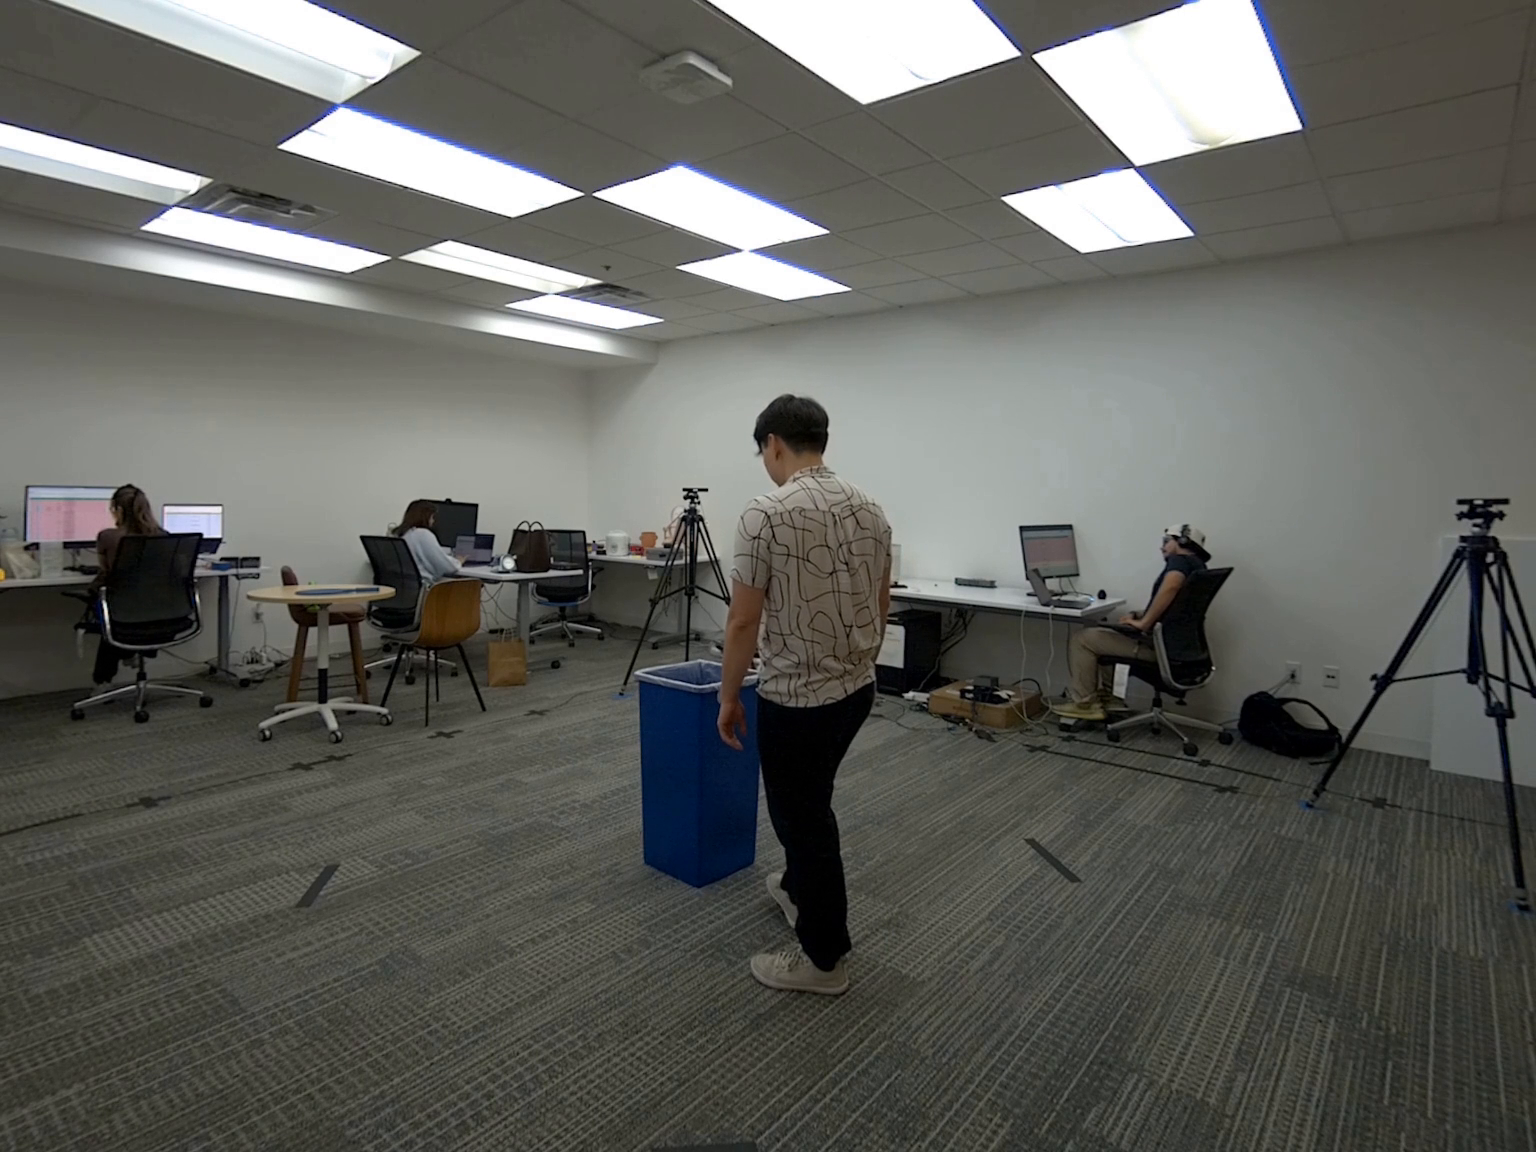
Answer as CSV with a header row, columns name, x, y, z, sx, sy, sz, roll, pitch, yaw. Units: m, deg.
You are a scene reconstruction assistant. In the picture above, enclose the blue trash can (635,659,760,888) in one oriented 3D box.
name,x,y,z,sx,sy,sz,roll,pitch,yaw
blue trash can,-0.261,0.706,3.156,0.391,0.712,0.363,3,4,41
